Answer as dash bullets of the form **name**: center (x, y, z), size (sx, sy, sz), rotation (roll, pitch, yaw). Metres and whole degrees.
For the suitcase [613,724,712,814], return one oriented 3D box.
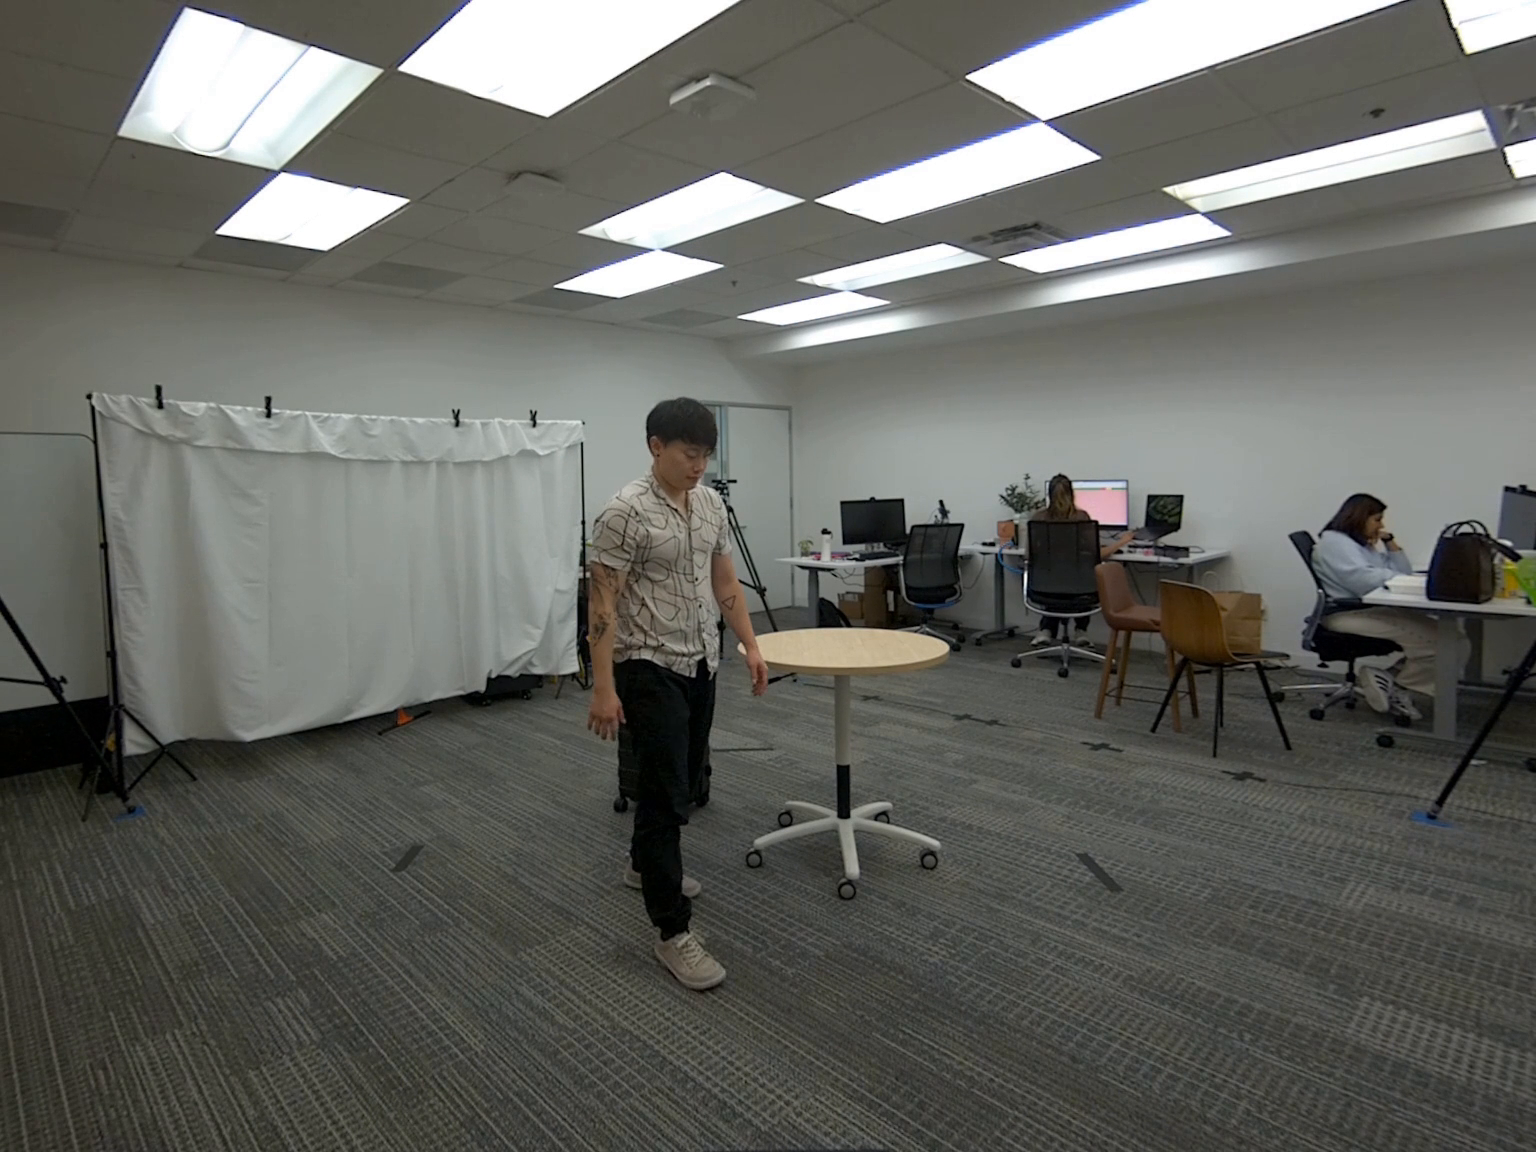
- **suitcase**: center (-0.449, 0.723, 3.658), size (0.385, 0.548, 0.242), rotation (2, 4, 30)
